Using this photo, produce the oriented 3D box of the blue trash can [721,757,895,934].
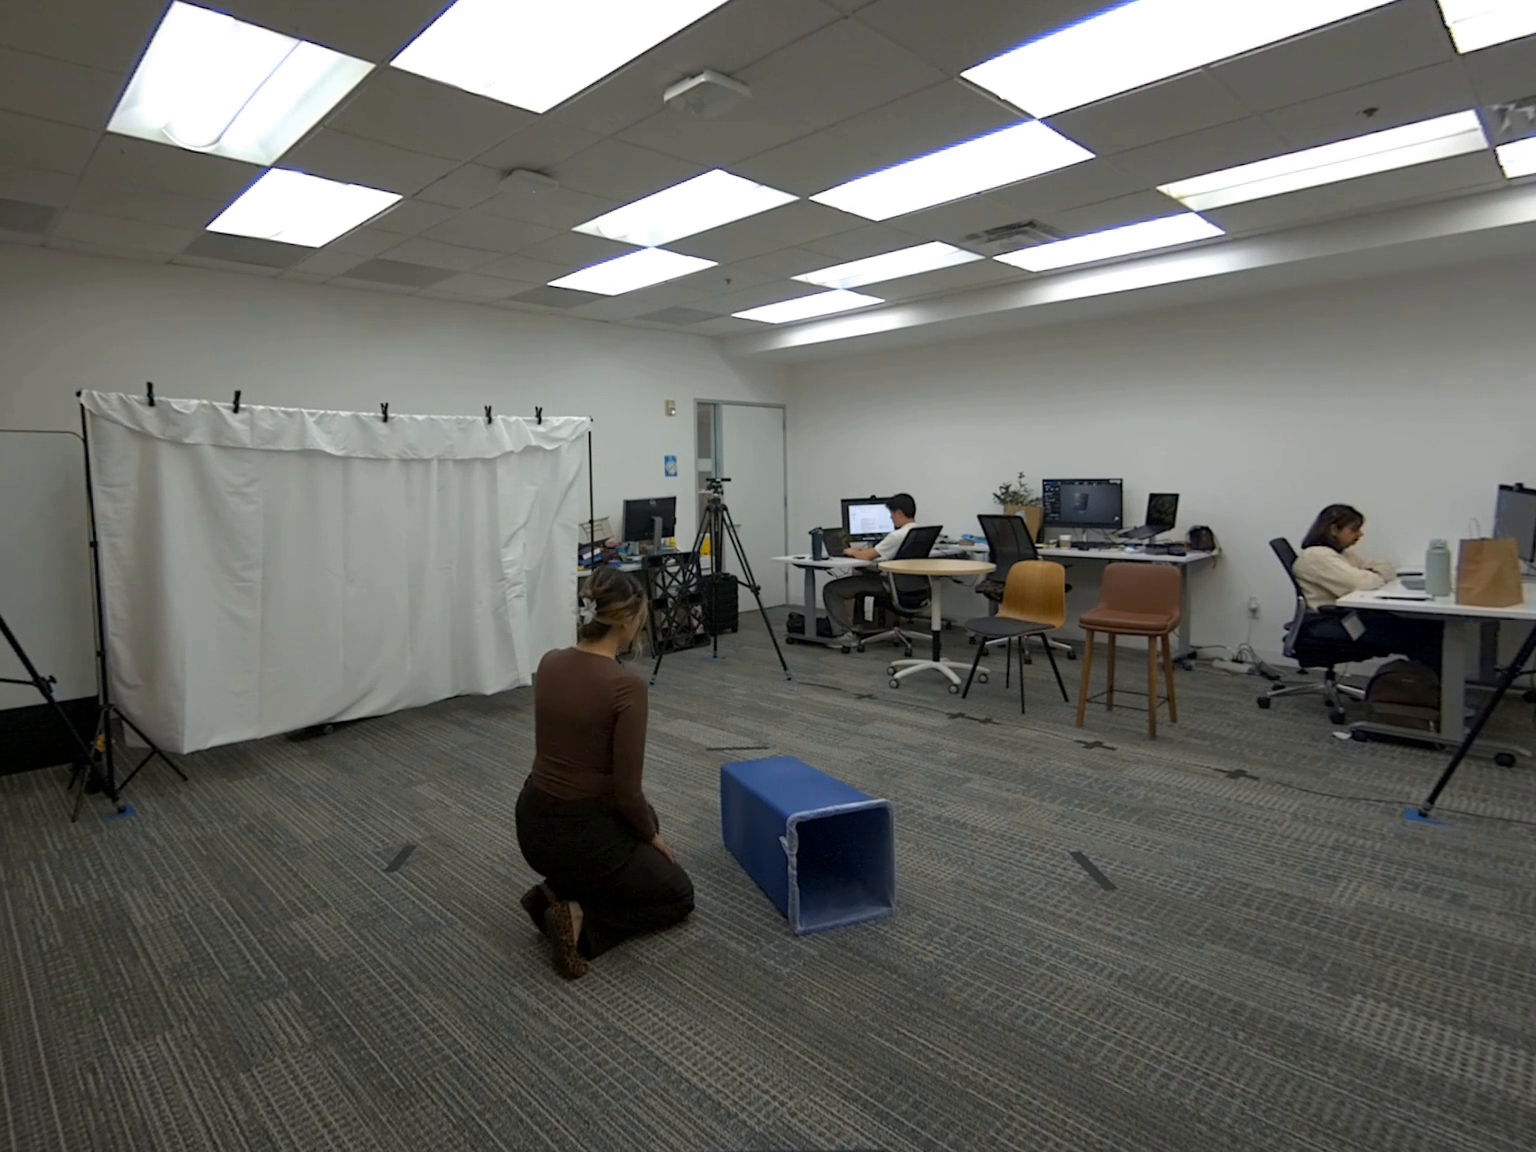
[{"bbox_3d":[0.106,0.880,2.991,0.367,0.377,0.729,-4,5,-21],"label":"blue trash can"}]
